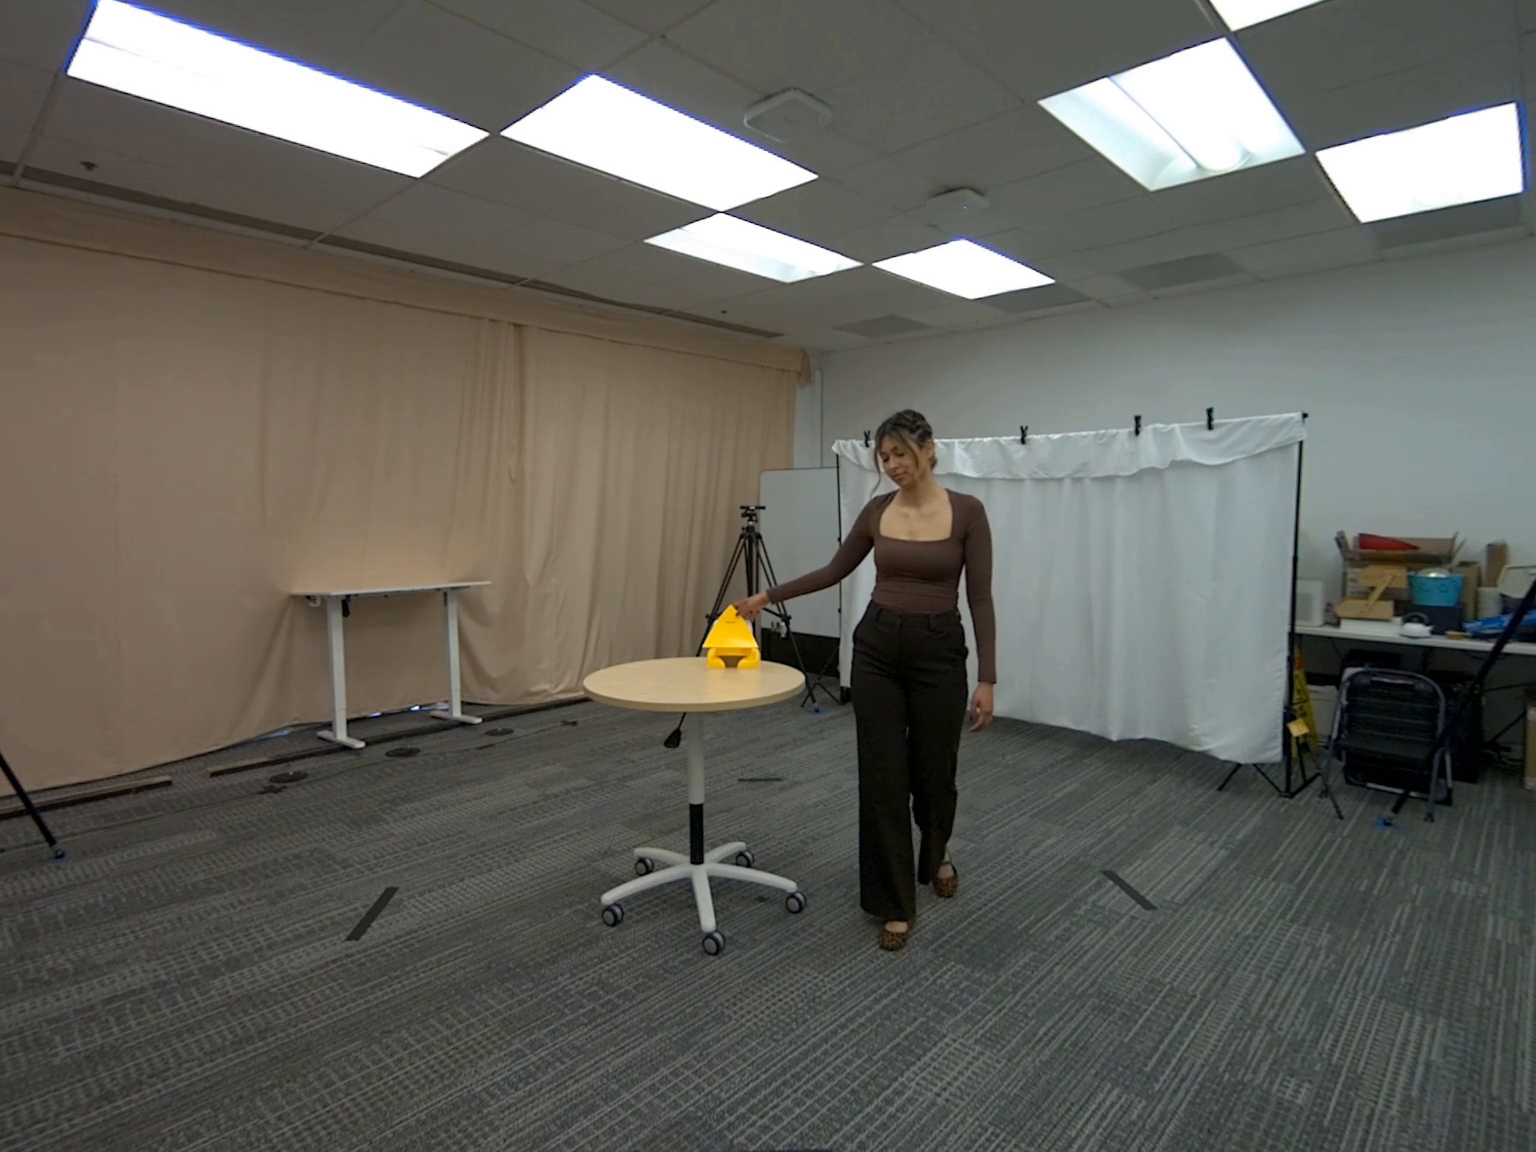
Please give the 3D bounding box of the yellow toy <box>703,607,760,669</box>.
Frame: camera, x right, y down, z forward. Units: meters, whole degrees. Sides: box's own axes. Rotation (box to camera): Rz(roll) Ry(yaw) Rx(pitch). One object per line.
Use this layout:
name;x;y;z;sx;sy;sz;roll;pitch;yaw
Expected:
yellow toy;-0.128;0.215;3.153;0.207;0.230;0.192;0;4;7
